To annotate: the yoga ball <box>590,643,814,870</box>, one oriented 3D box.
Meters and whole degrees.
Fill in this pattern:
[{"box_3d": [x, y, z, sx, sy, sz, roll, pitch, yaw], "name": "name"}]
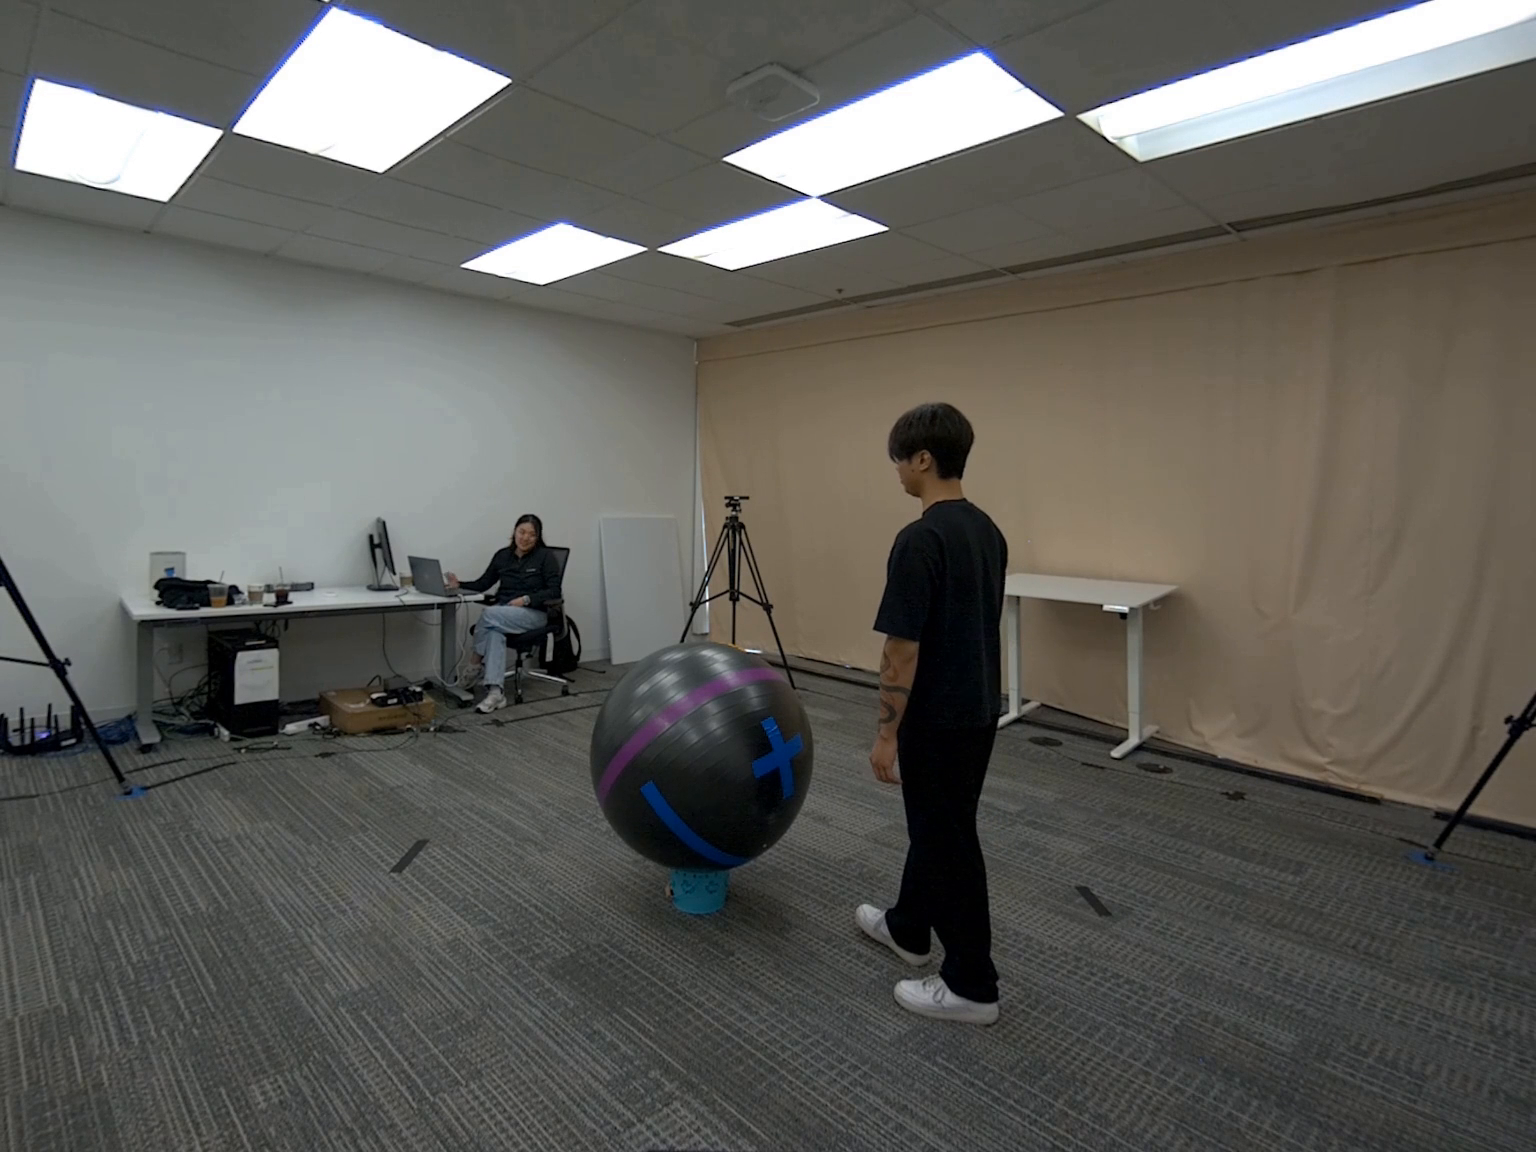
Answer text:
[{"box_3d": [-0.229, 0.609, 2.875, 0.757, 0.756, 0.761, 1, 4, -1], "name": "yoga ball"}]
